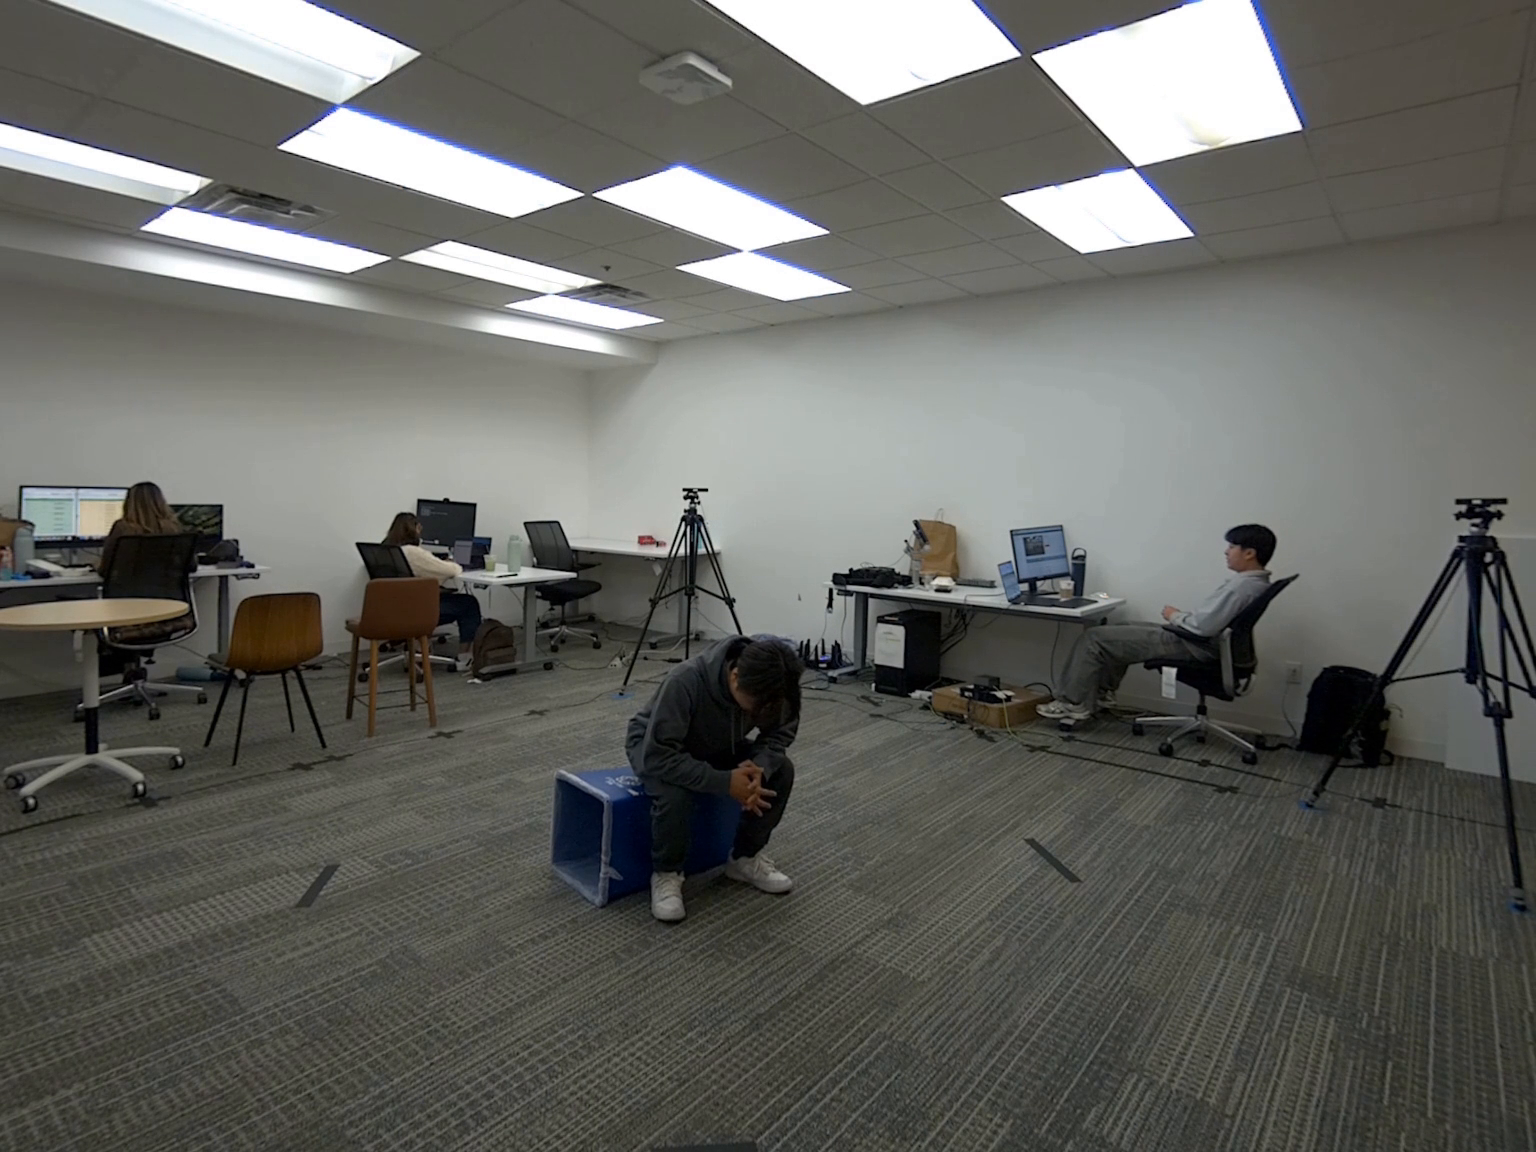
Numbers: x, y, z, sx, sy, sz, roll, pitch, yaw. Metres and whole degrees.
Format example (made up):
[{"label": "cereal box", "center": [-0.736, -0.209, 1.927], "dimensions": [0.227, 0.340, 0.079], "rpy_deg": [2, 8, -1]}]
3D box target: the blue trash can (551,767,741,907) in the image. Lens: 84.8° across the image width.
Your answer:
[{"label": "blue trash can", "center": [-0.414, 0.893, 3.156], "dimensions": [0.691, 0.377, 0.387], "rpy_deg": [1, 3, -42]}]
